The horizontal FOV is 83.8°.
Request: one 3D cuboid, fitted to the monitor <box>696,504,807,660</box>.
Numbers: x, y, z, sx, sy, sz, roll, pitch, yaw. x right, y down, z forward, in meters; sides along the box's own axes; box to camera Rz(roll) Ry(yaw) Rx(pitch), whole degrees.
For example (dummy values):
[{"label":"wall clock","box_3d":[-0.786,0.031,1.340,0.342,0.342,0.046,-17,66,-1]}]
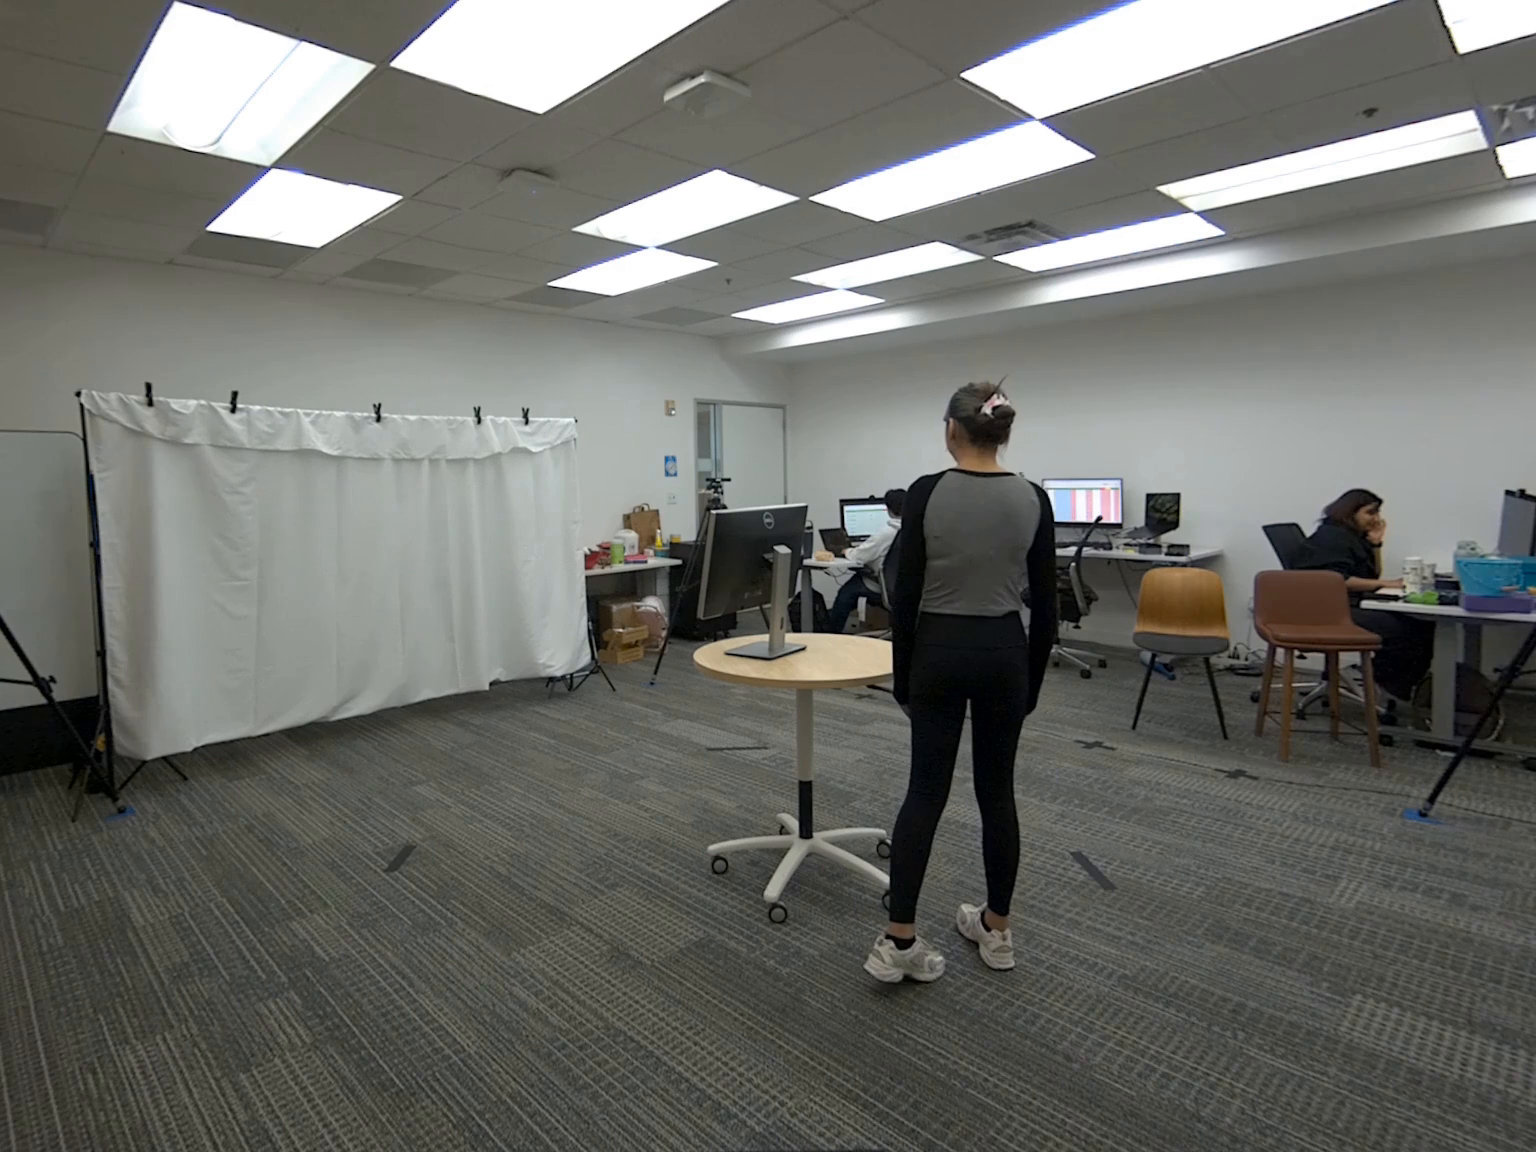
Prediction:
[{"label":"monitor","box_3d":[-0.014,0.020,2.981,0.179,0.515,0.518,-6,2,36]}]
